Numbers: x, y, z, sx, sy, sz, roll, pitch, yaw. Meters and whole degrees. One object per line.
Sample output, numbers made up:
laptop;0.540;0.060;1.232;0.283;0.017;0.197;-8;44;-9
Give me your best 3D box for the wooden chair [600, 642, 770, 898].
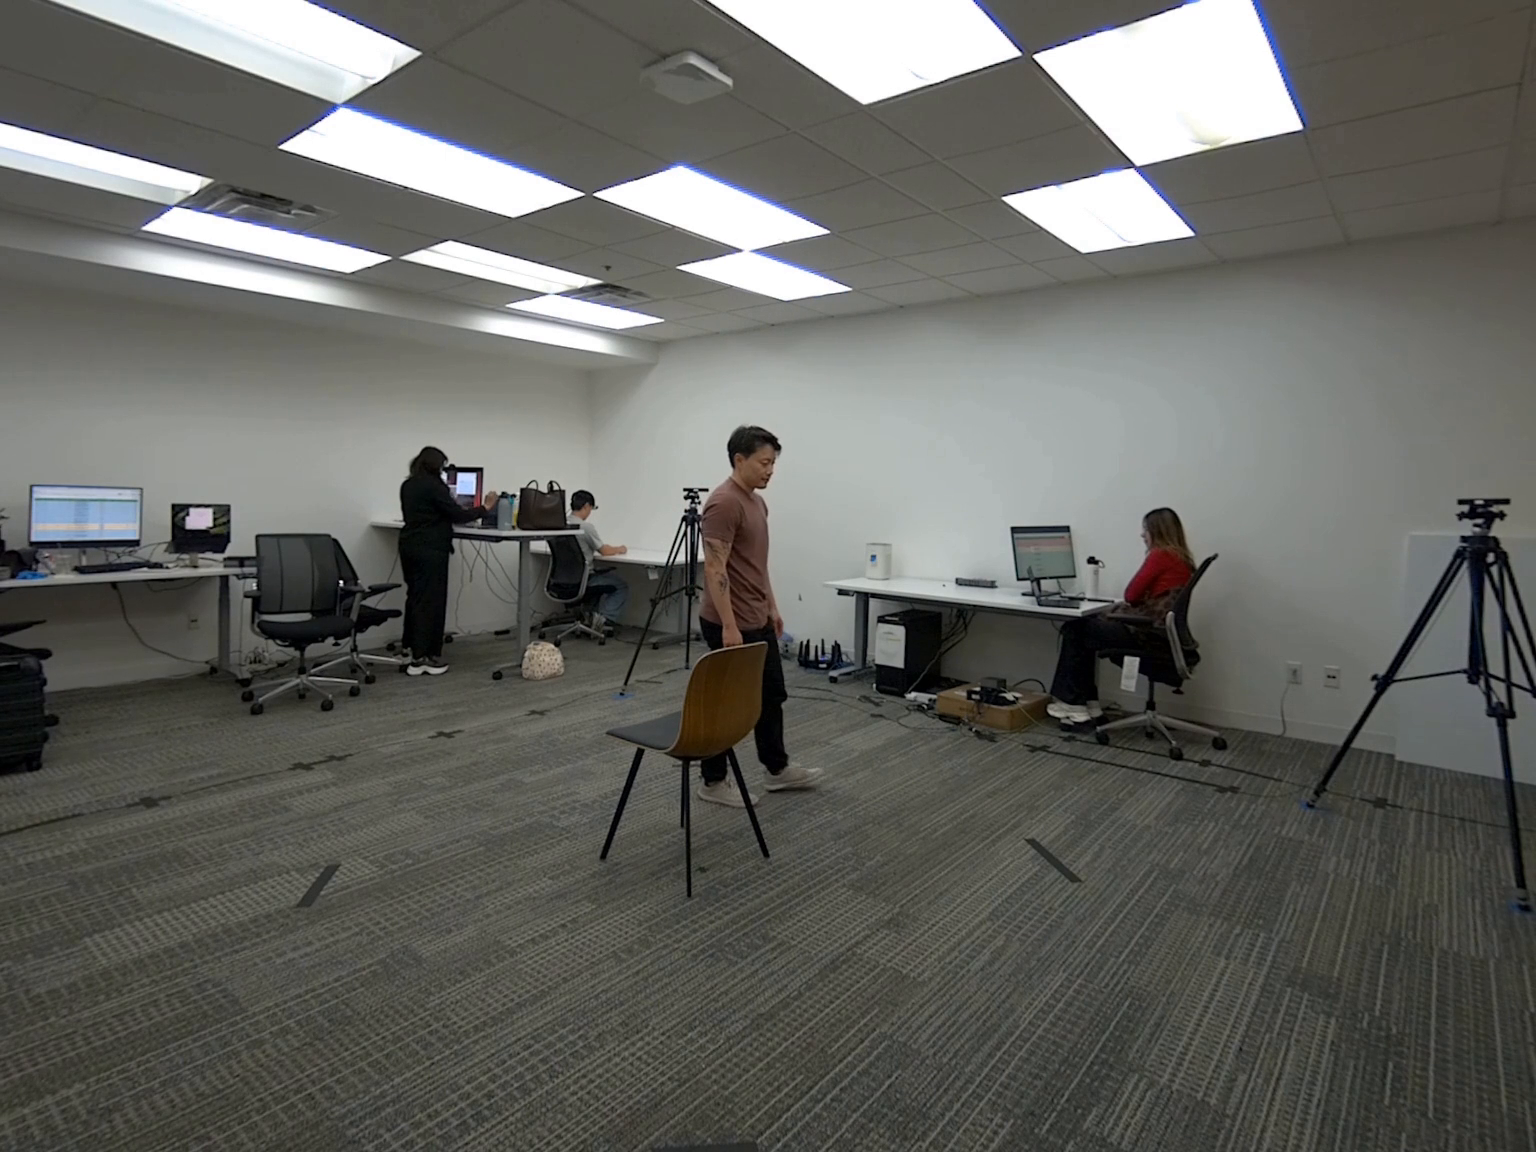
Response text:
wooden chair;-0.322;0.633;3.178;0.541;0.873;0.464;9;7;38
